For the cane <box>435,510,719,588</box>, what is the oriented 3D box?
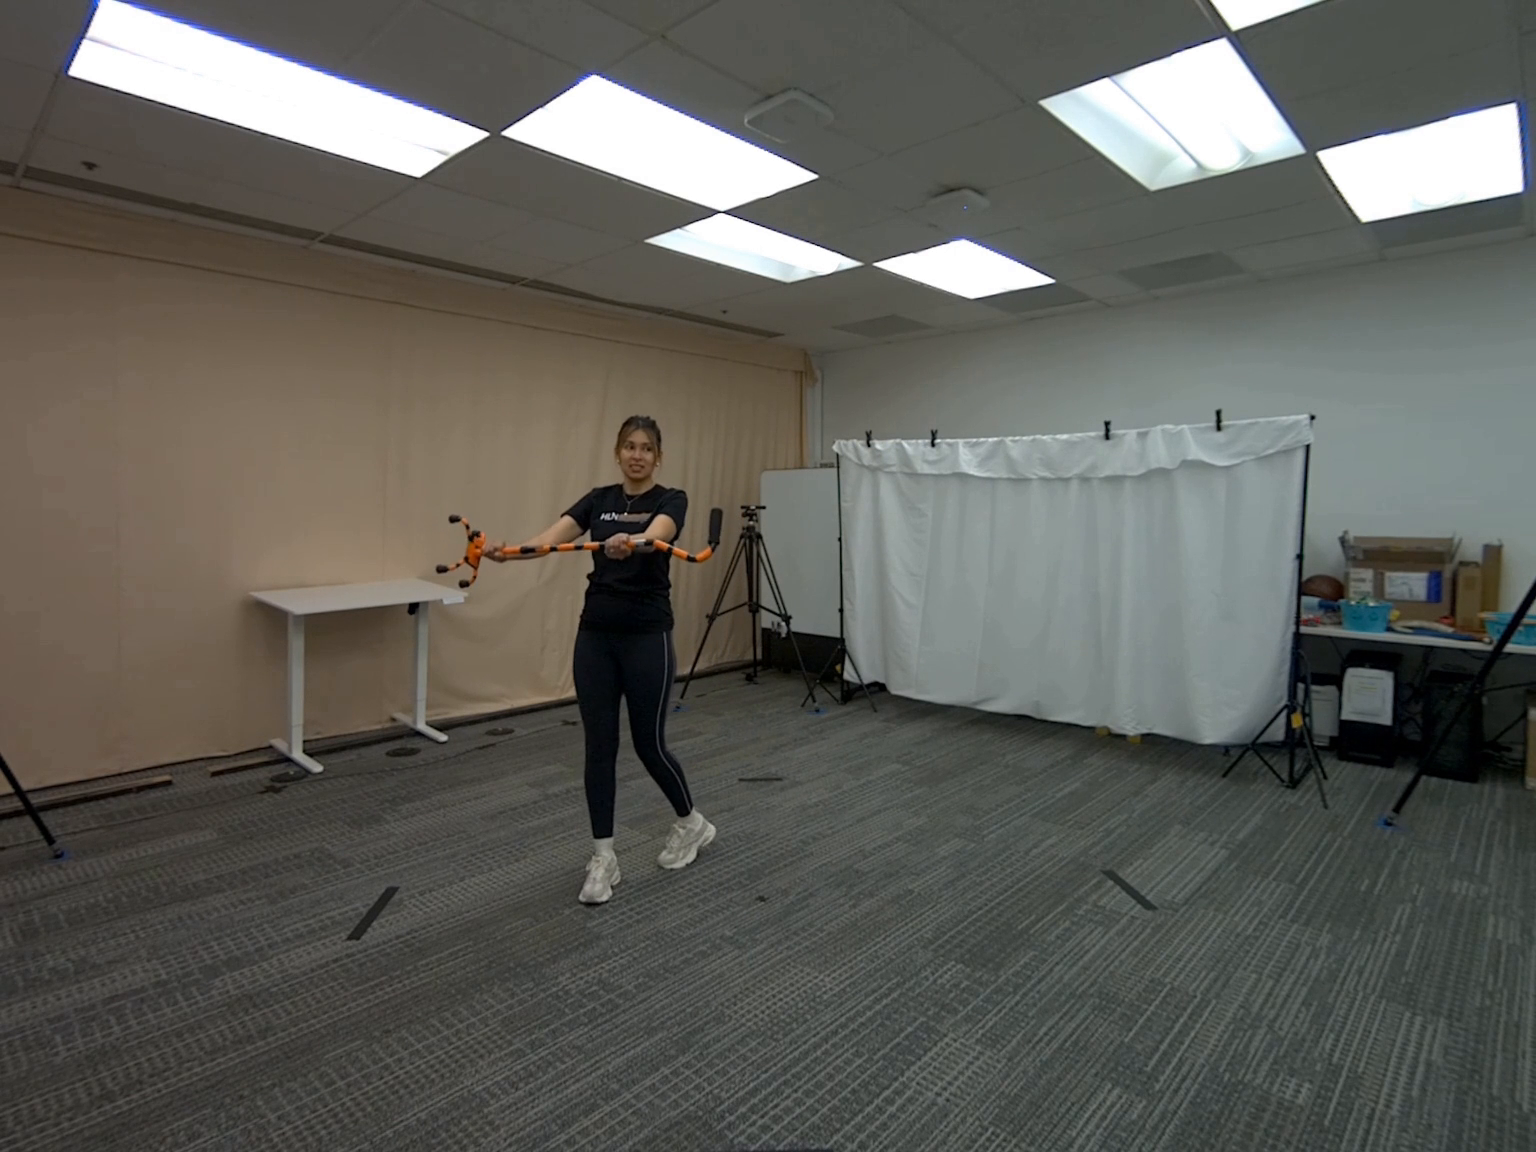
[{"bbox_3d":[-0.571,-0.089,2.575,0.925,0.209,0.147,-2,-23,18],"label":"cane"}]
